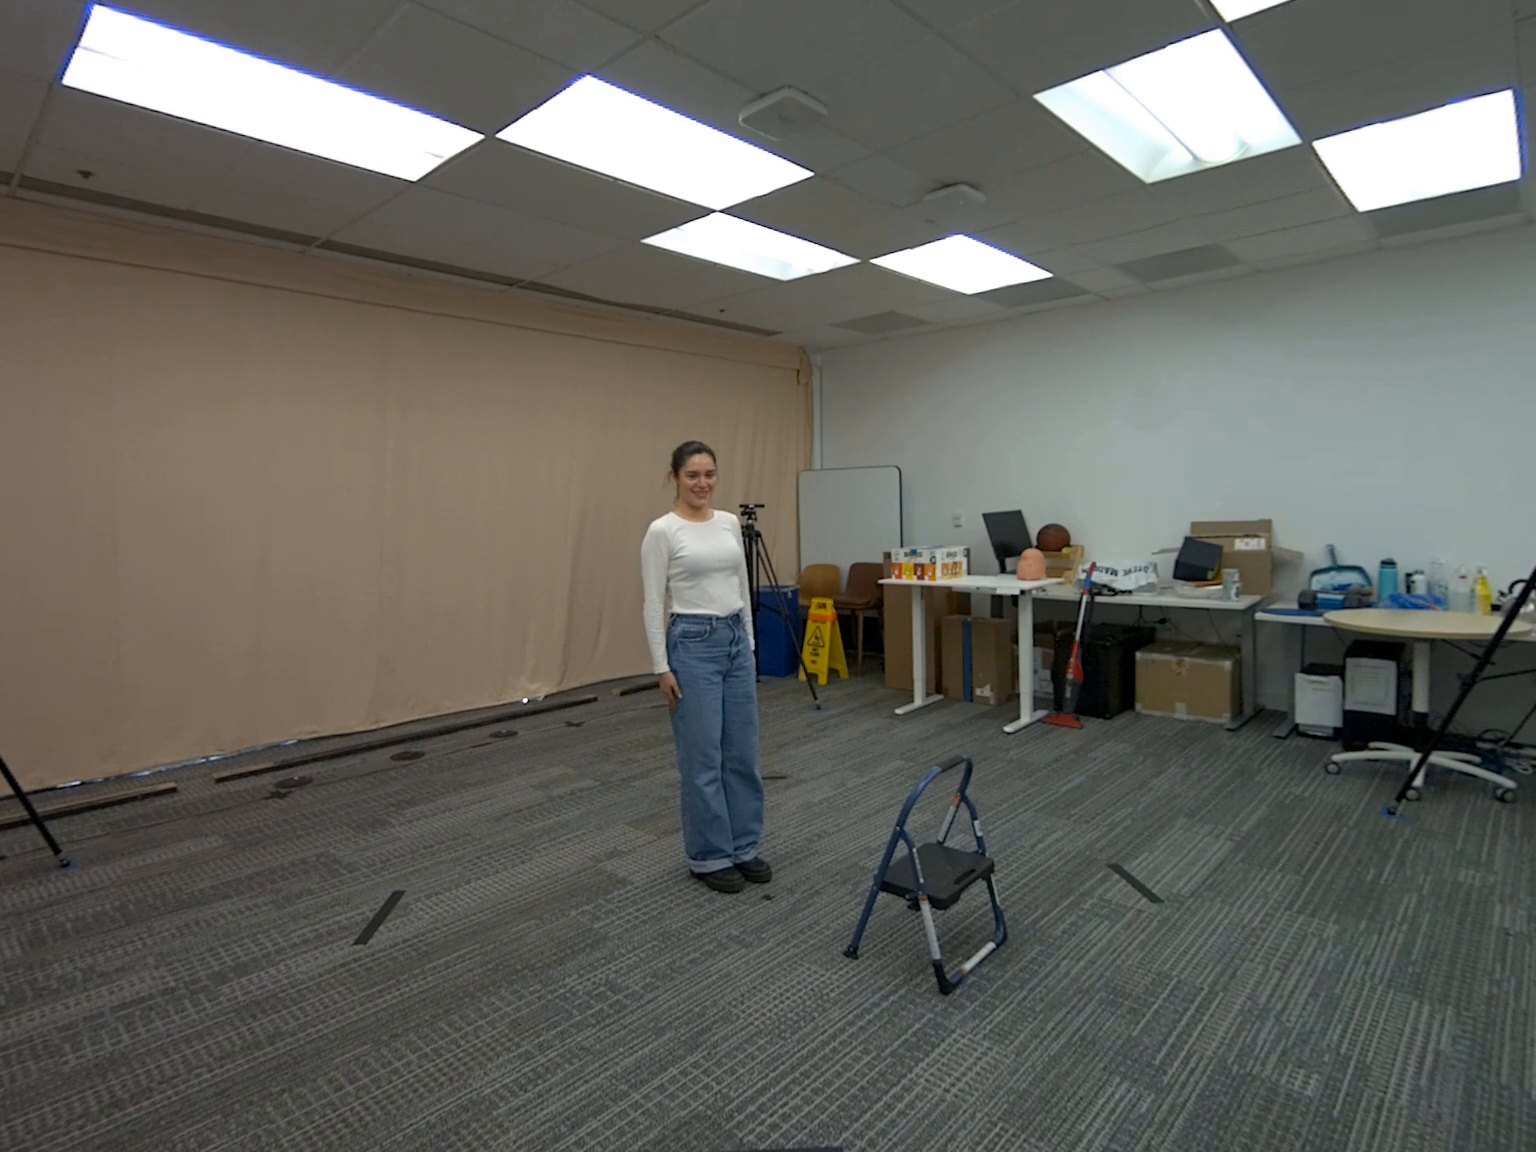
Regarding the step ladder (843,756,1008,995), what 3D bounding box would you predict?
[{"bbox_3d":[0.501,0.861,2.615,0.361,0.604,0.418,2,5,40],"label":"step ladder"}]
